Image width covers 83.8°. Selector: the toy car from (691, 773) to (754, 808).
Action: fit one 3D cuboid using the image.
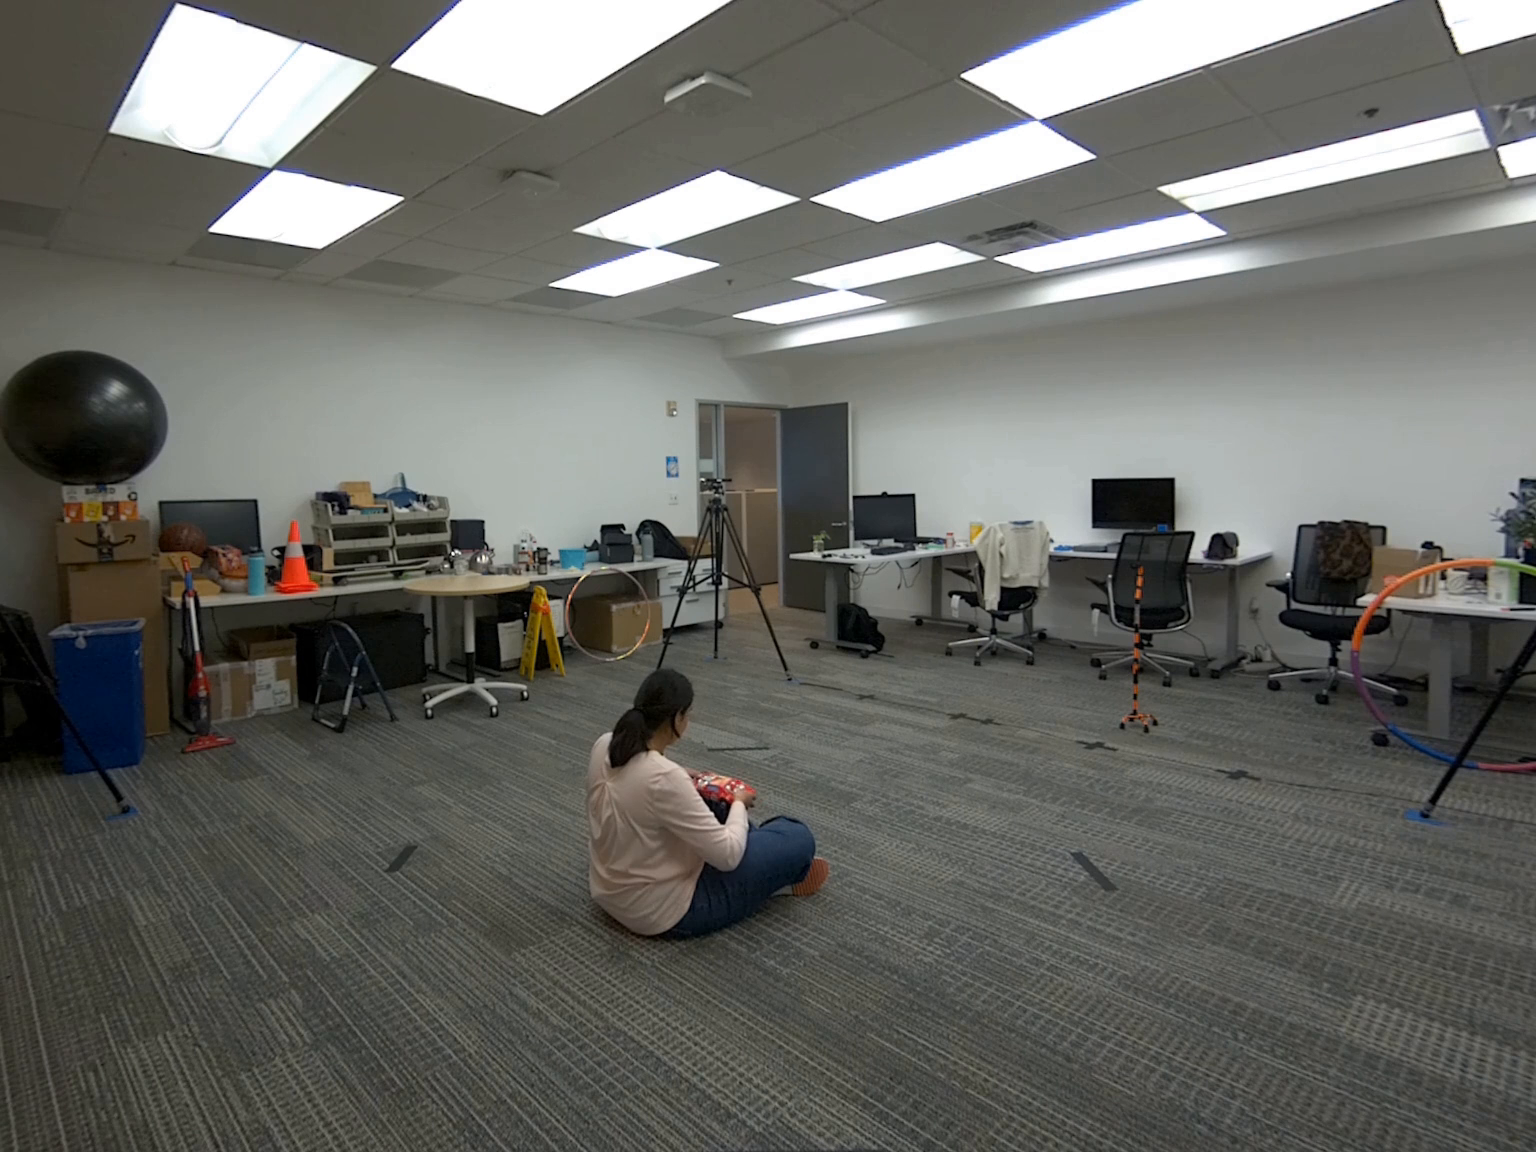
[{"bbox_3d":[-0.150,0.757,3.011,0.261,0.082,0.128,-5,15,43],"label":"toy car"}]
